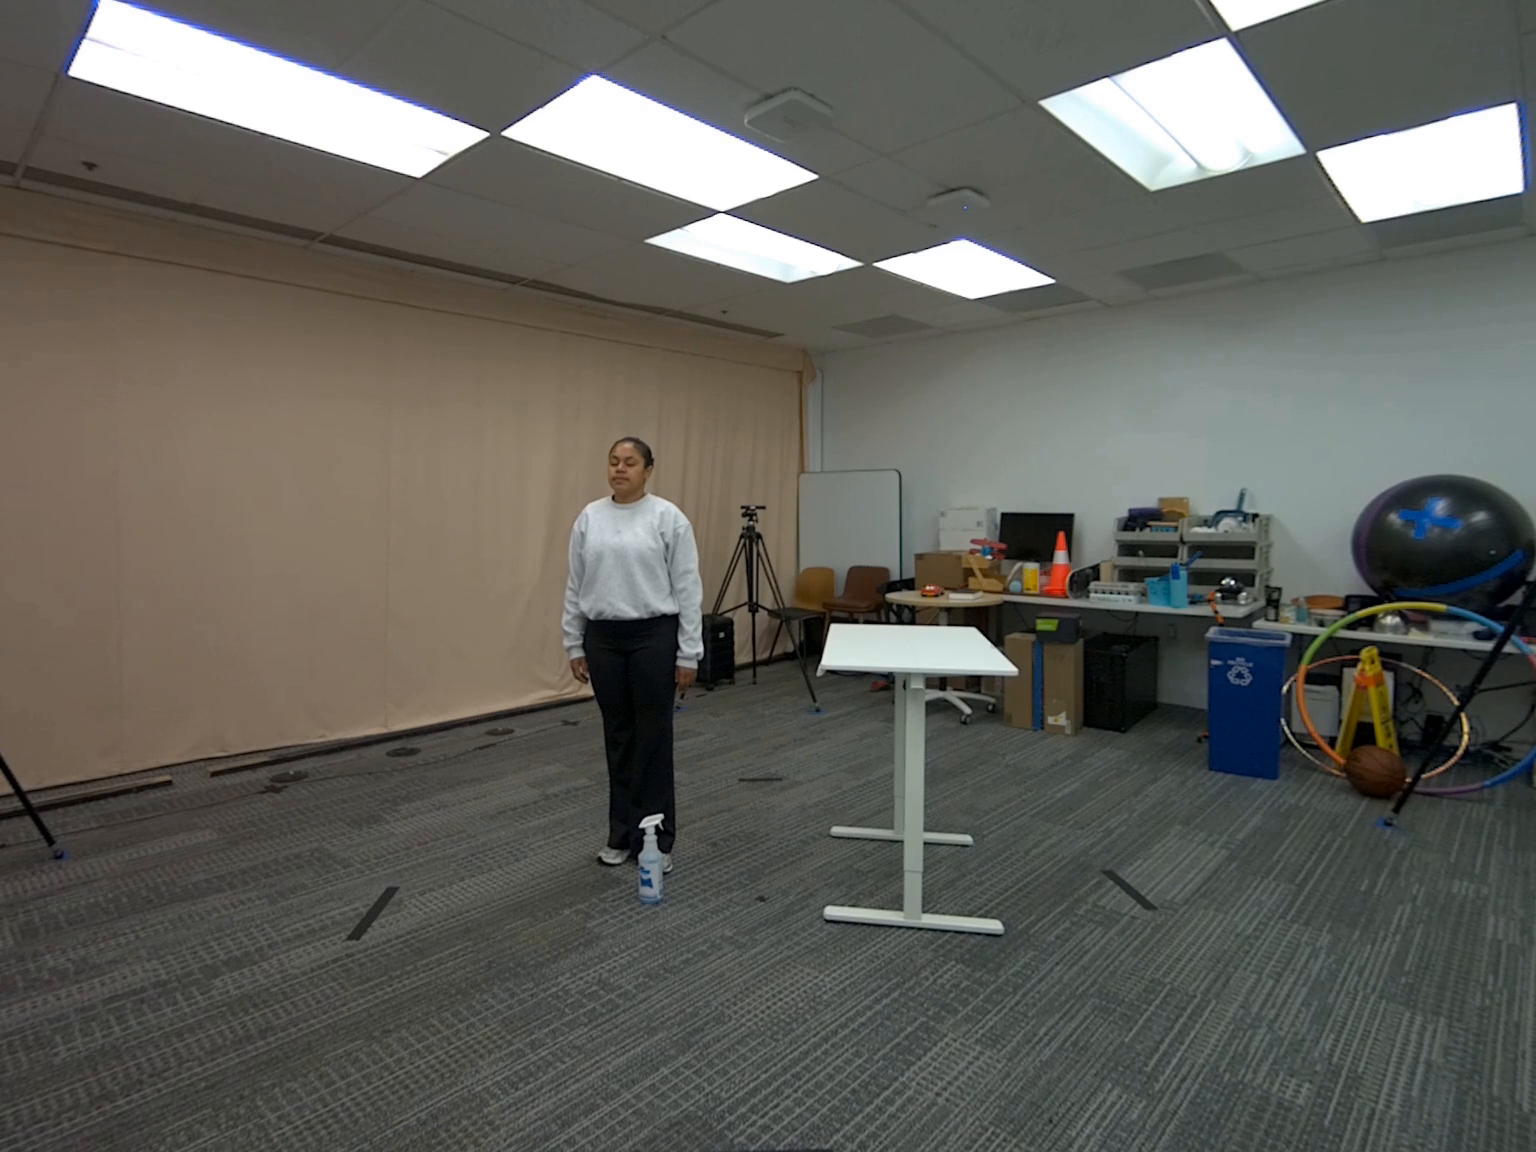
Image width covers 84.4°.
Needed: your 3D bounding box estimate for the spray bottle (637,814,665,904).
[{"bbox_3d":[-0.412,0.992,2.992,0.090,0.297,0.087,1,2,-4],"label":"spray bottle"}]
